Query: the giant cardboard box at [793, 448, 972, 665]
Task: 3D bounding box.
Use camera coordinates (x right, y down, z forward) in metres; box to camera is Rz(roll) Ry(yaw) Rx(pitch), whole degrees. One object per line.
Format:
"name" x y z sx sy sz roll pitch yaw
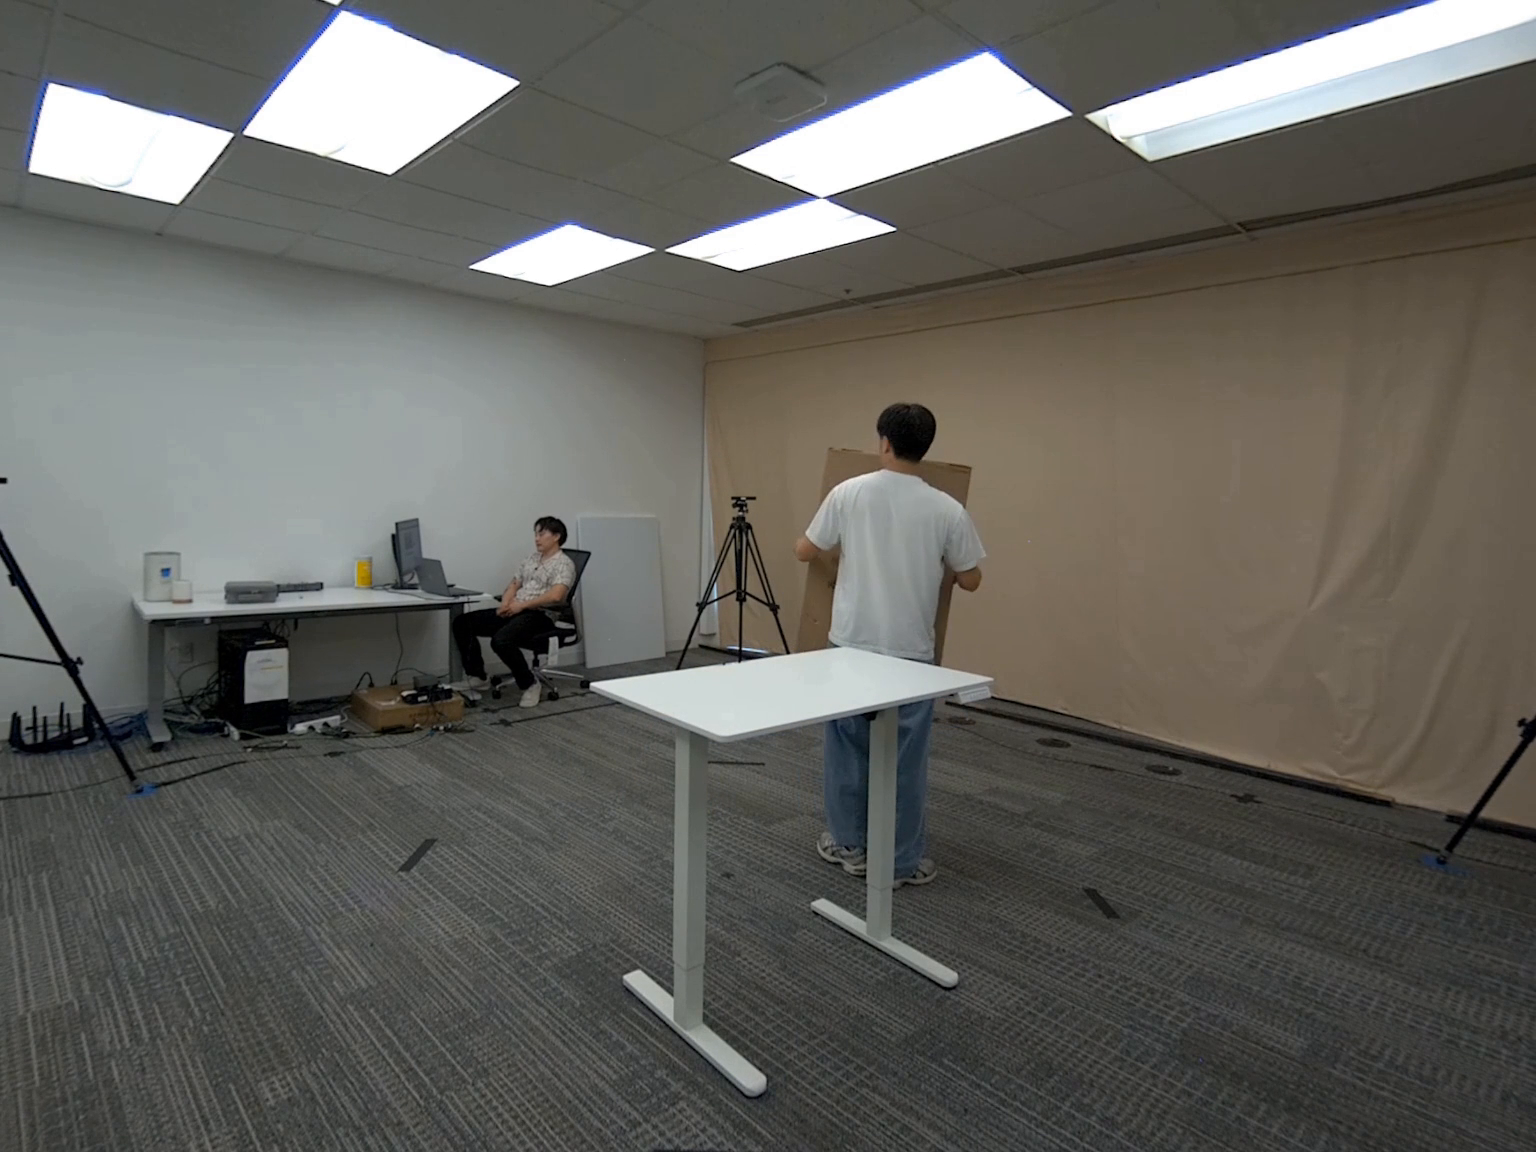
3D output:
"giant cardboard box" 0.470 0.033 3.532 0.585 1.026 0.421 9 0 13
